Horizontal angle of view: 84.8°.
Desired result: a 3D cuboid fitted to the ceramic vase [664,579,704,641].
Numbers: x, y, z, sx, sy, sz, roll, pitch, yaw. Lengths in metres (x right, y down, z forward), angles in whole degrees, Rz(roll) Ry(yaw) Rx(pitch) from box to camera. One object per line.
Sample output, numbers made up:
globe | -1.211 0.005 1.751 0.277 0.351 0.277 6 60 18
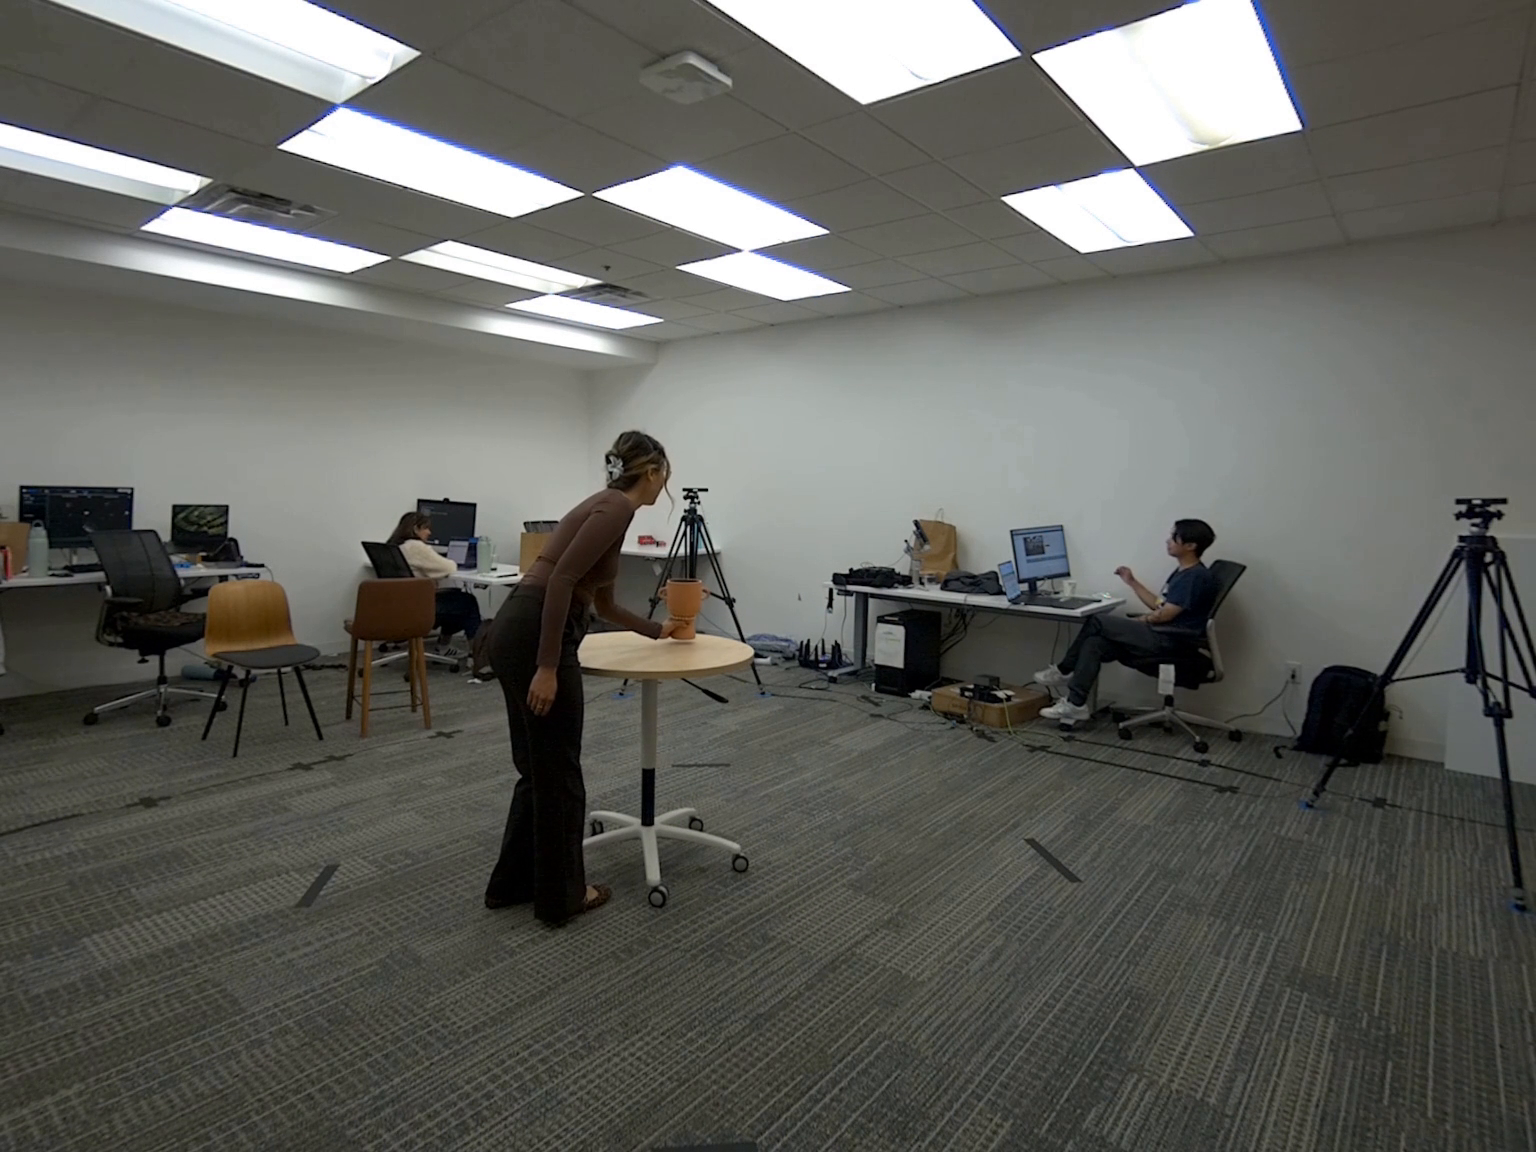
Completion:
ceramic vase | -0.334 0.123 3.265 0.163 0.219 0.131 5 5 30
